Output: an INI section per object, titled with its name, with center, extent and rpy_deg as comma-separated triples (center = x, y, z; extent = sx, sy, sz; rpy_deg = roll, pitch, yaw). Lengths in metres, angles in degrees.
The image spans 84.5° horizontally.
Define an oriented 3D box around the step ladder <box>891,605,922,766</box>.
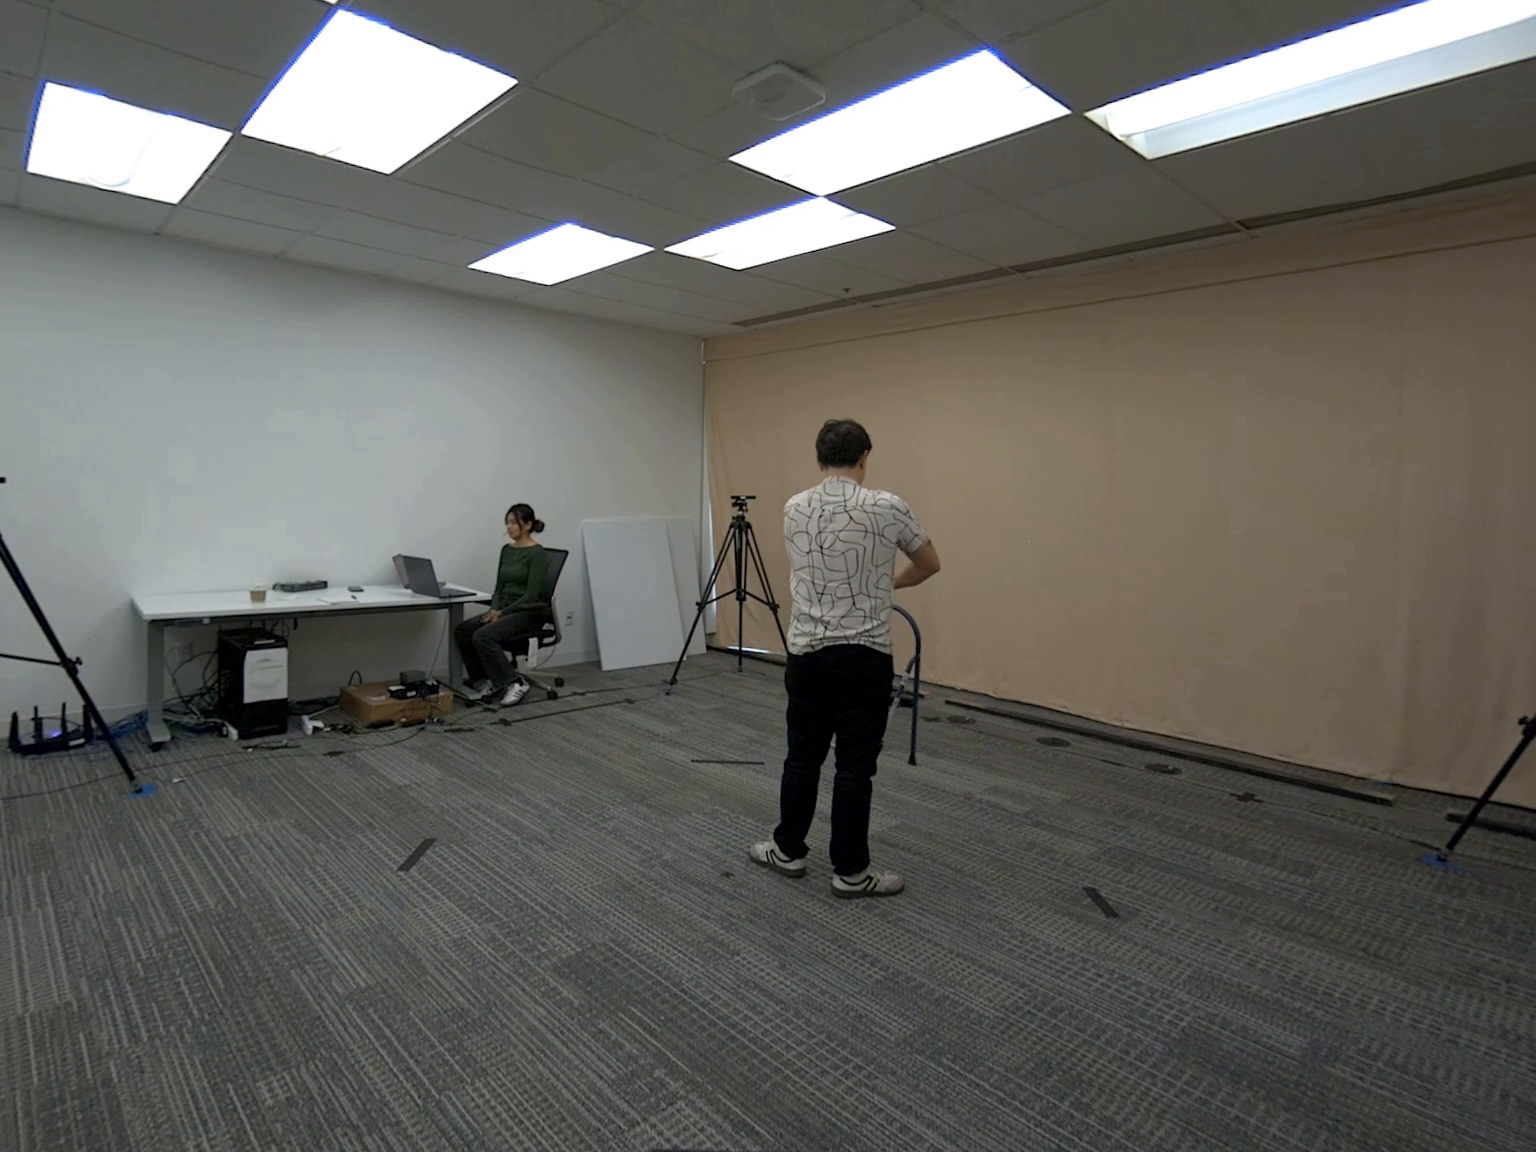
[step ladder]
center = 0.400, 0.399, 3.397
extent = 0.443, 0.606, 0.339
rpy_deg = 14, 0, 40
